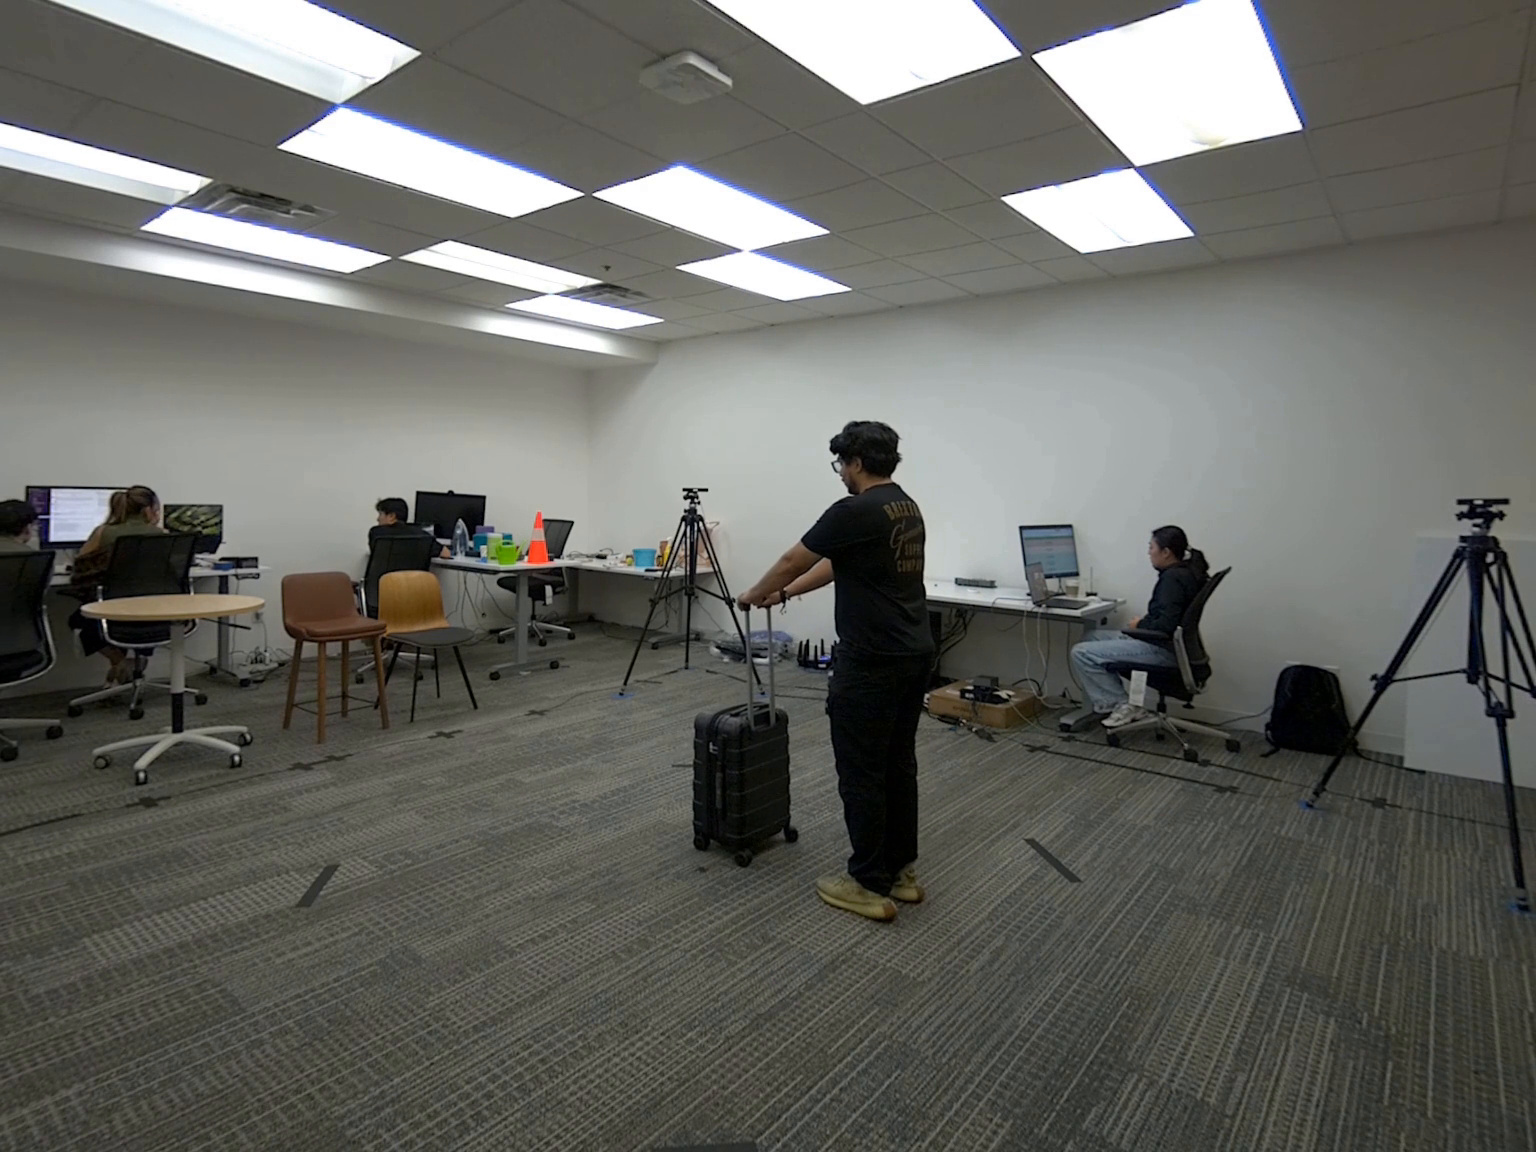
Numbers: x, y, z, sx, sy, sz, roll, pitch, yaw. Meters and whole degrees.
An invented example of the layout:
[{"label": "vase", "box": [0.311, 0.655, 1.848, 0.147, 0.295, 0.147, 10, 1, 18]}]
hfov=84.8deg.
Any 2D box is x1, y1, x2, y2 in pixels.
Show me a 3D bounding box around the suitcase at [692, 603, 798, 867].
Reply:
[{"label": "suitcase", "box": [-0.119, 0.575, 3.330, 0.265, 0.979, 0.372, -3, 0, 40]}]
